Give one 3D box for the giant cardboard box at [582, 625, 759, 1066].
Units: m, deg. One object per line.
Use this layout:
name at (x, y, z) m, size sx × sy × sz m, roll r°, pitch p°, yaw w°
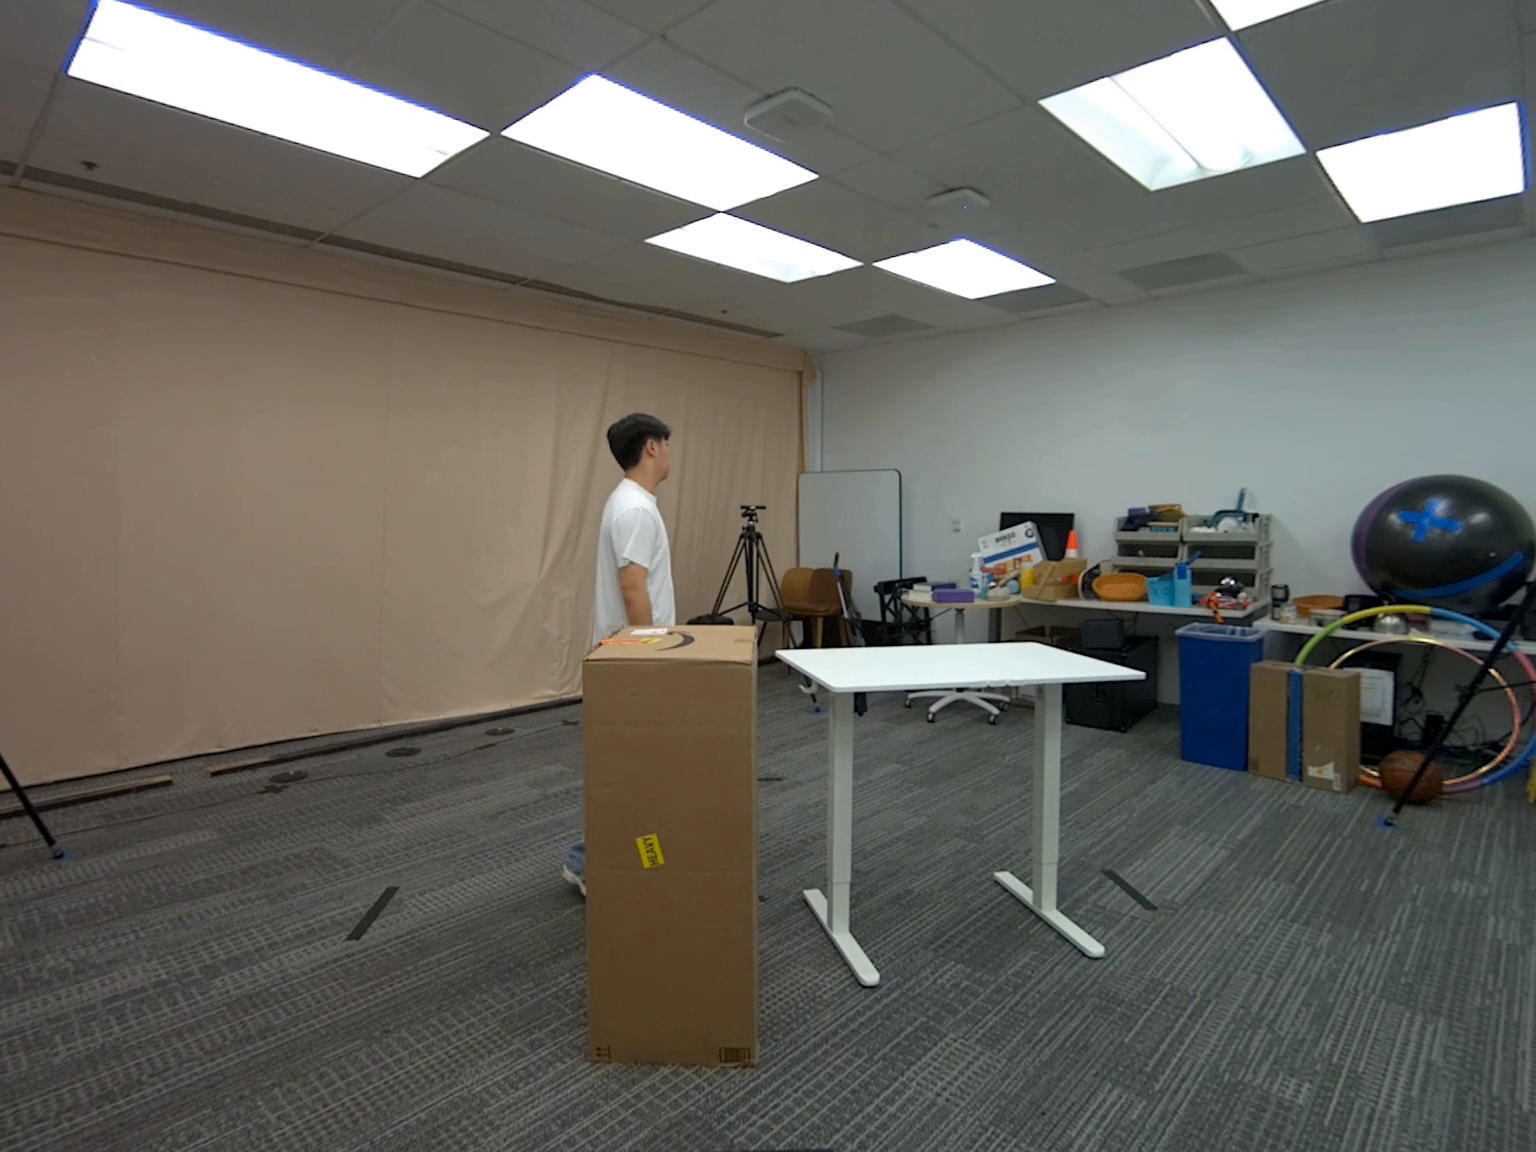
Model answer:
giant cardboard box at (-0.243, 0.690, 2.348) m, size 0.427 × 1.024 × 0.577 m, roll 0°, pitch 3°, yaw 1°
